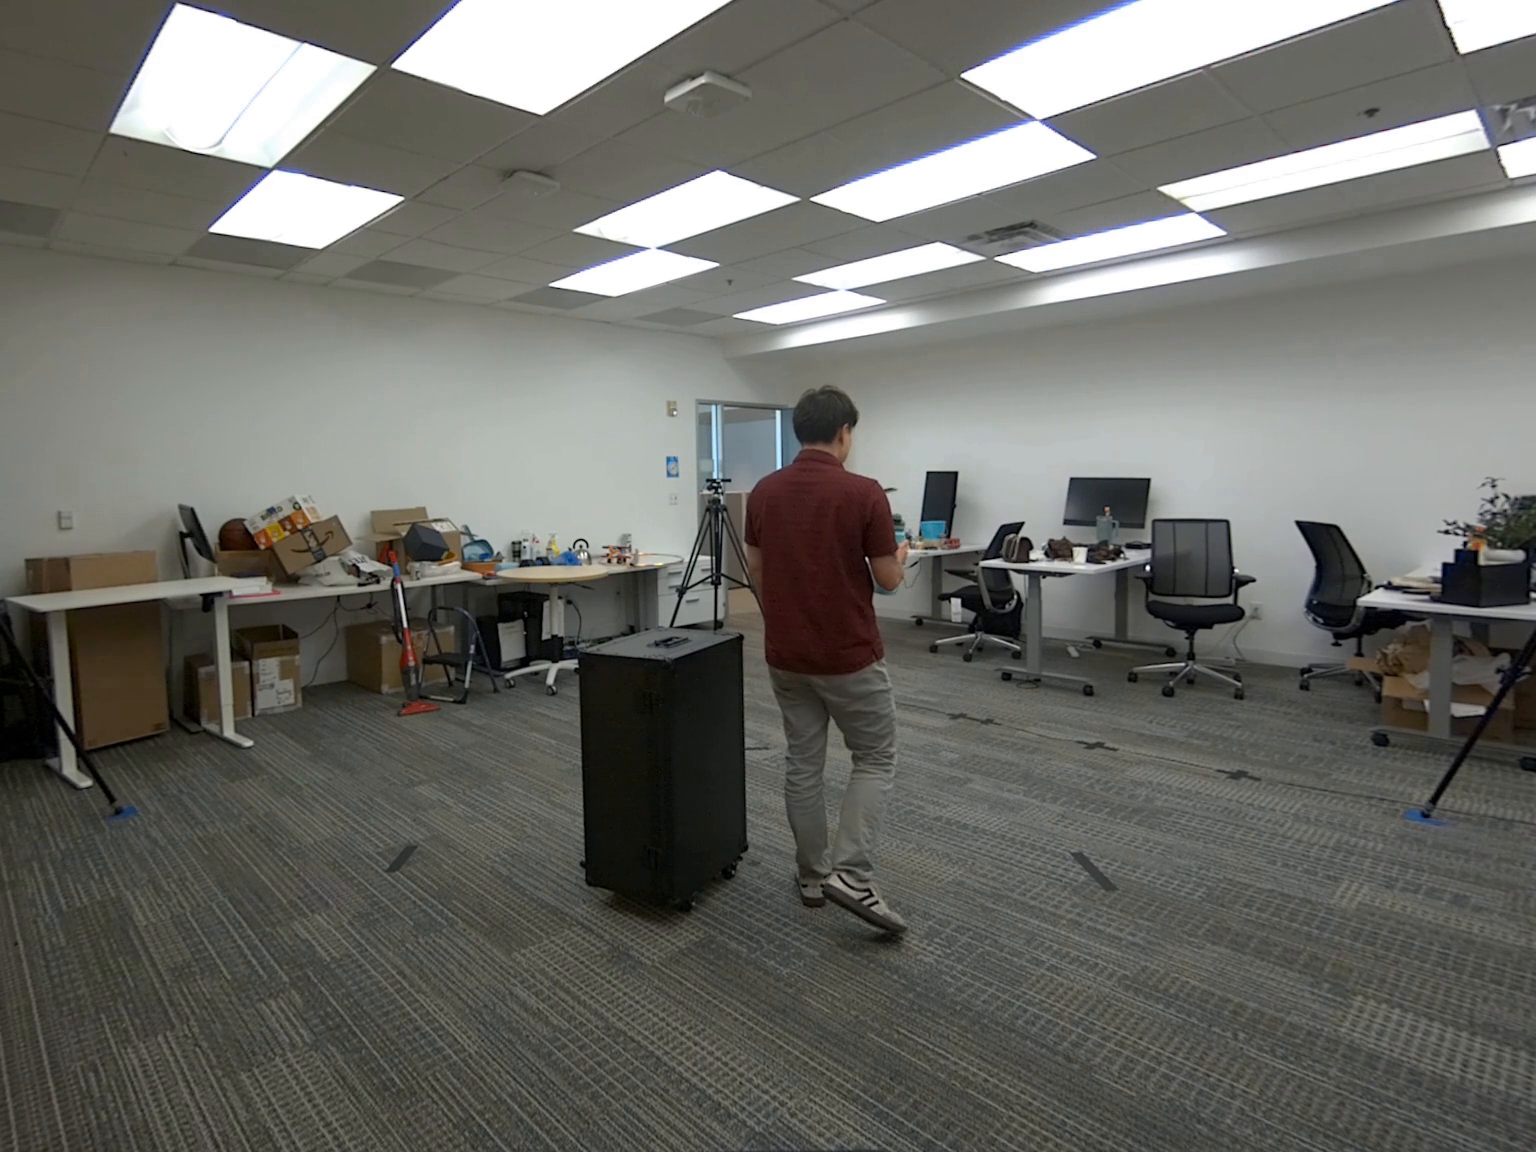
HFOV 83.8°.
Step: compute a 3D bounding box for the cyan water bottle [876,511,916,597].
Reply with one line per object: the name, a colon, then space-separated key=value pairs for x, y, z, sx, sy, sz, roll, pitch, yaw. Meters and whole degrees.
cyan water bottle: x=0.439 y=-0.080 z=2.989 sx=0.092 sy=0.282 sz=0.093 roll=6 pitch=6 yaw=-2
